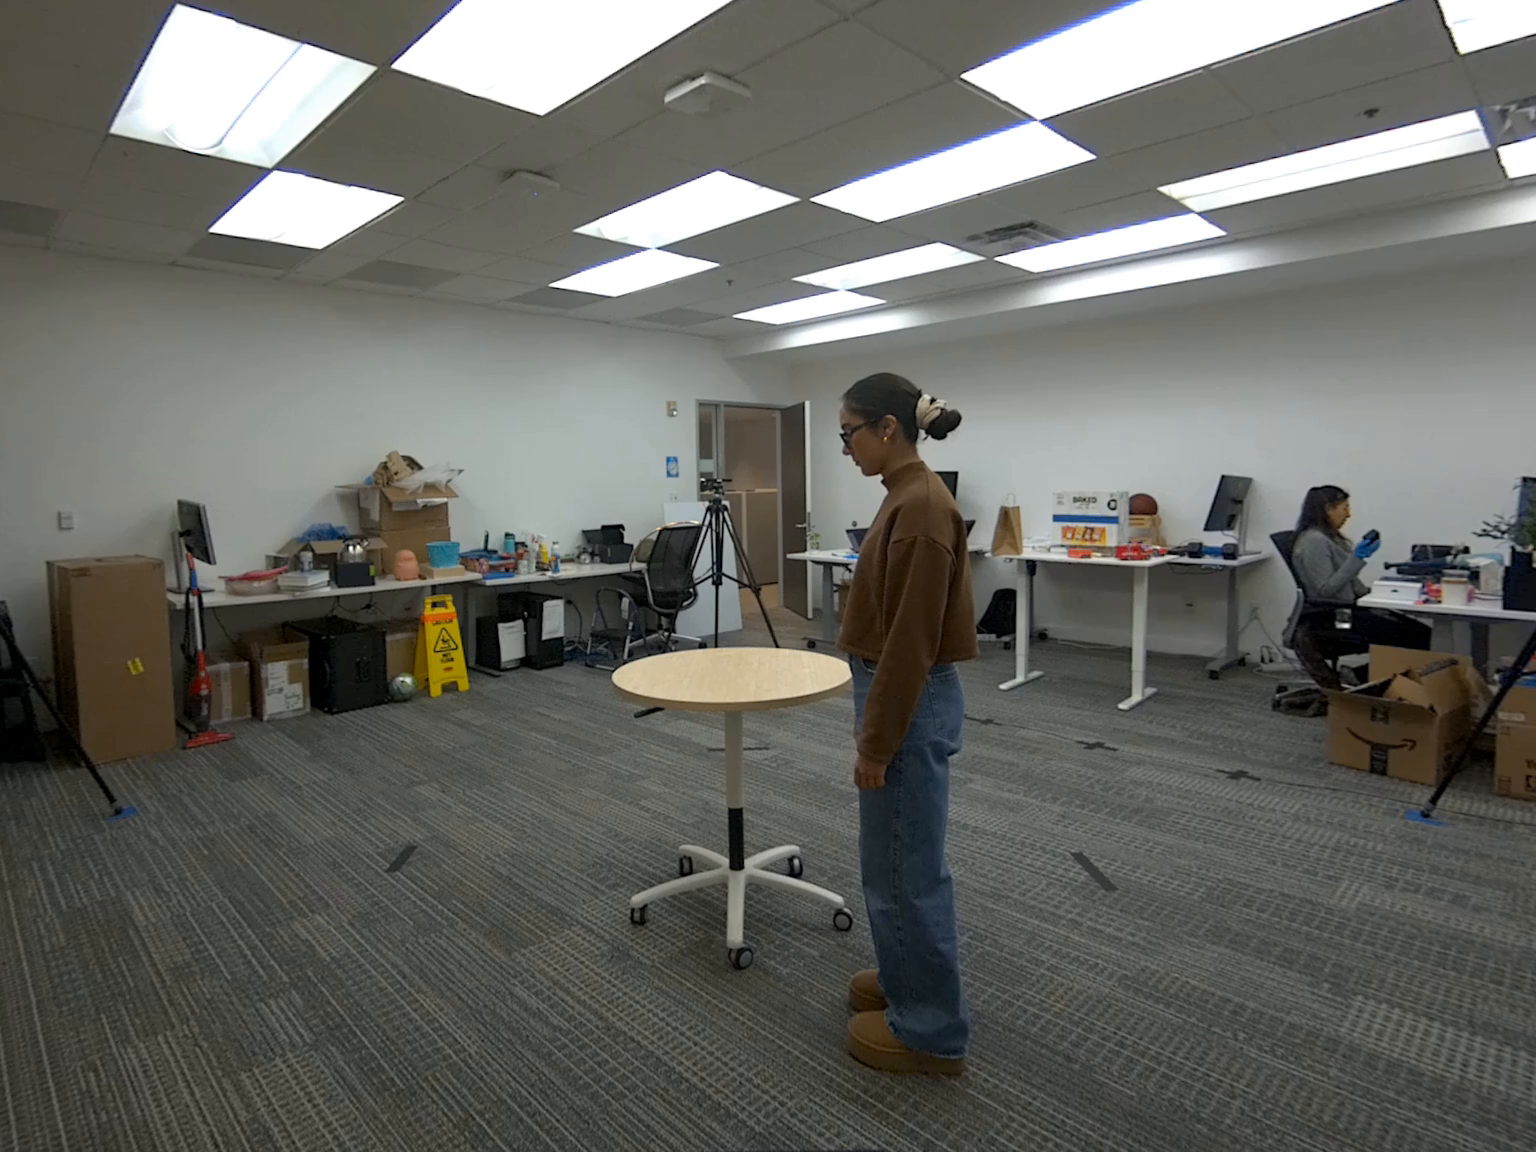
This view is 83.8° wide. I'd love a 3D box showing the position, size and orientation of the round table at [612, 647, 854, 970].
[{"bbox_3d":[-0.105,0.696,2.757,0.763,0.791,0.768,-1,5,-2],"label":"round table"}]
